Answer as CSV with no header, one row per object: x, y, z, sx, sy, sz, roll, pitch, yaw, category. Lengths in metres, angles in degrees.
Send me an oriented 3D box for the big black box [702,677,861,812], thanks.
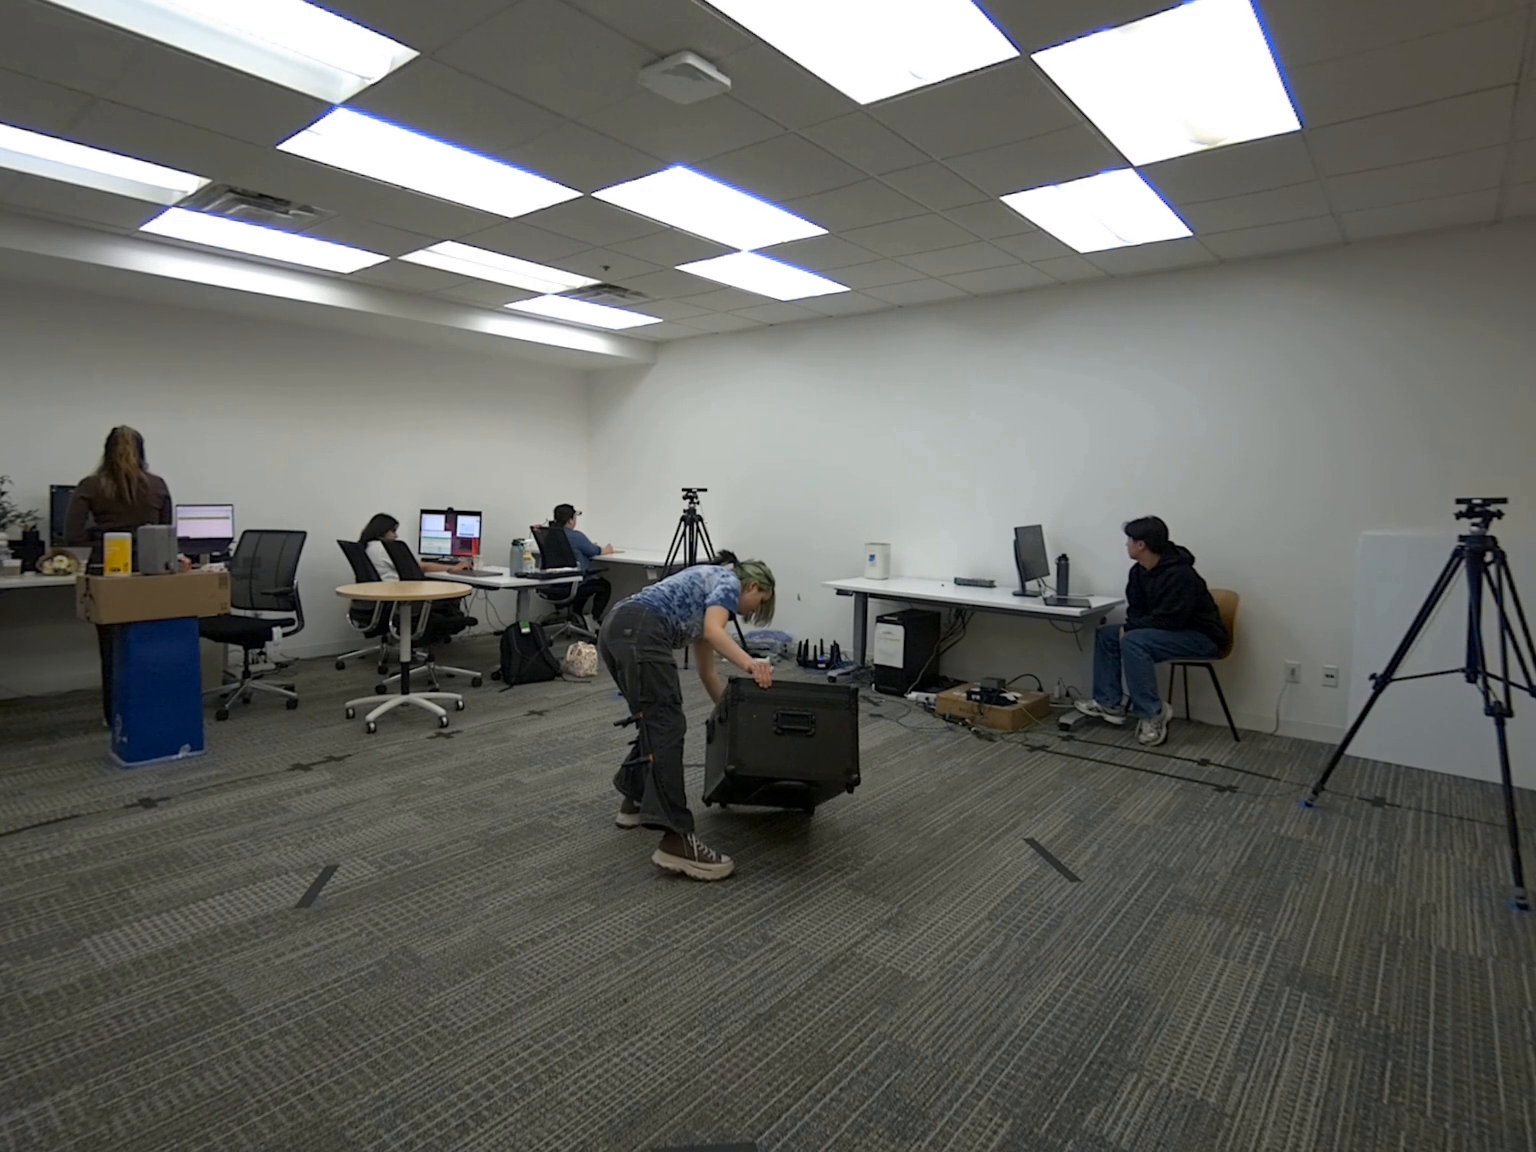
0.029,0.697,3.395,0.517,0.404,0.851,7,-24,-9,big black box
